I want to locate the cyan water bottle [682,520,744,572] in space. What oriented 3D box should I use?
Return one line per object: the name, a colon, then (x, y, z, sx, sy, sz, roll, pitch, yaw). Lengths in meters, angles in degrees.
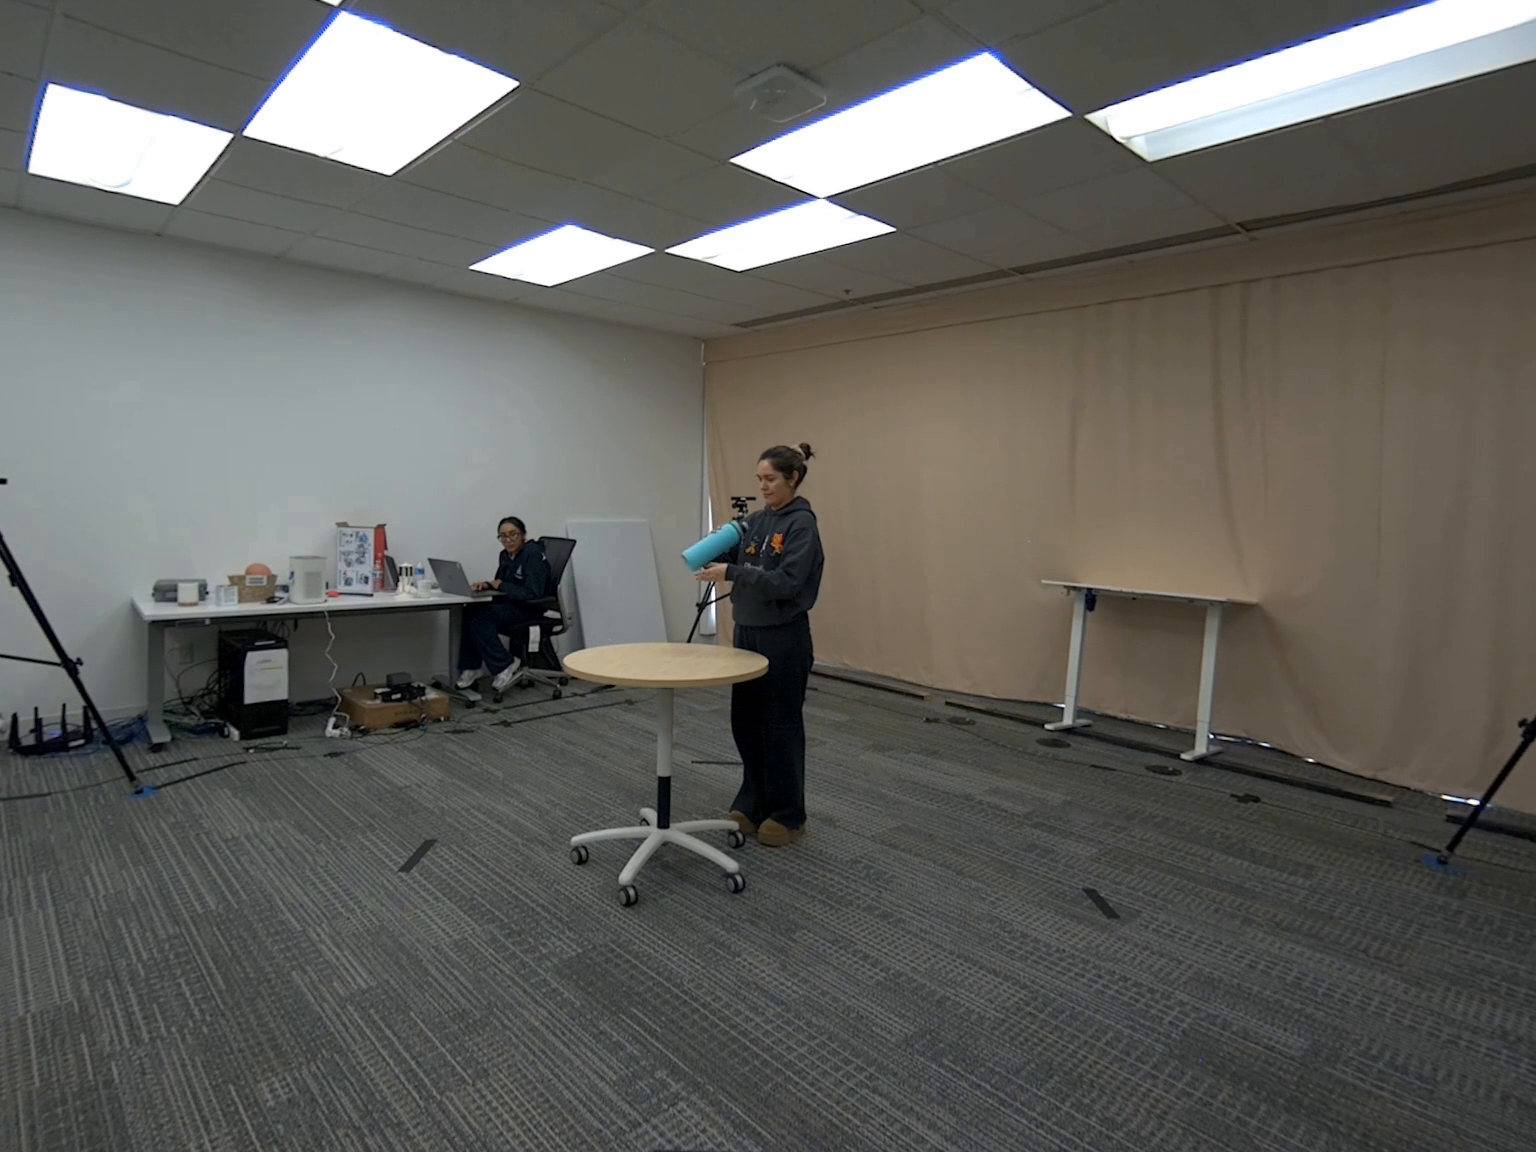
cyan water bottle: (-0.212, -0.123, 3.327, 0.282, 0.091, 0.094, -33, 13, -11)
